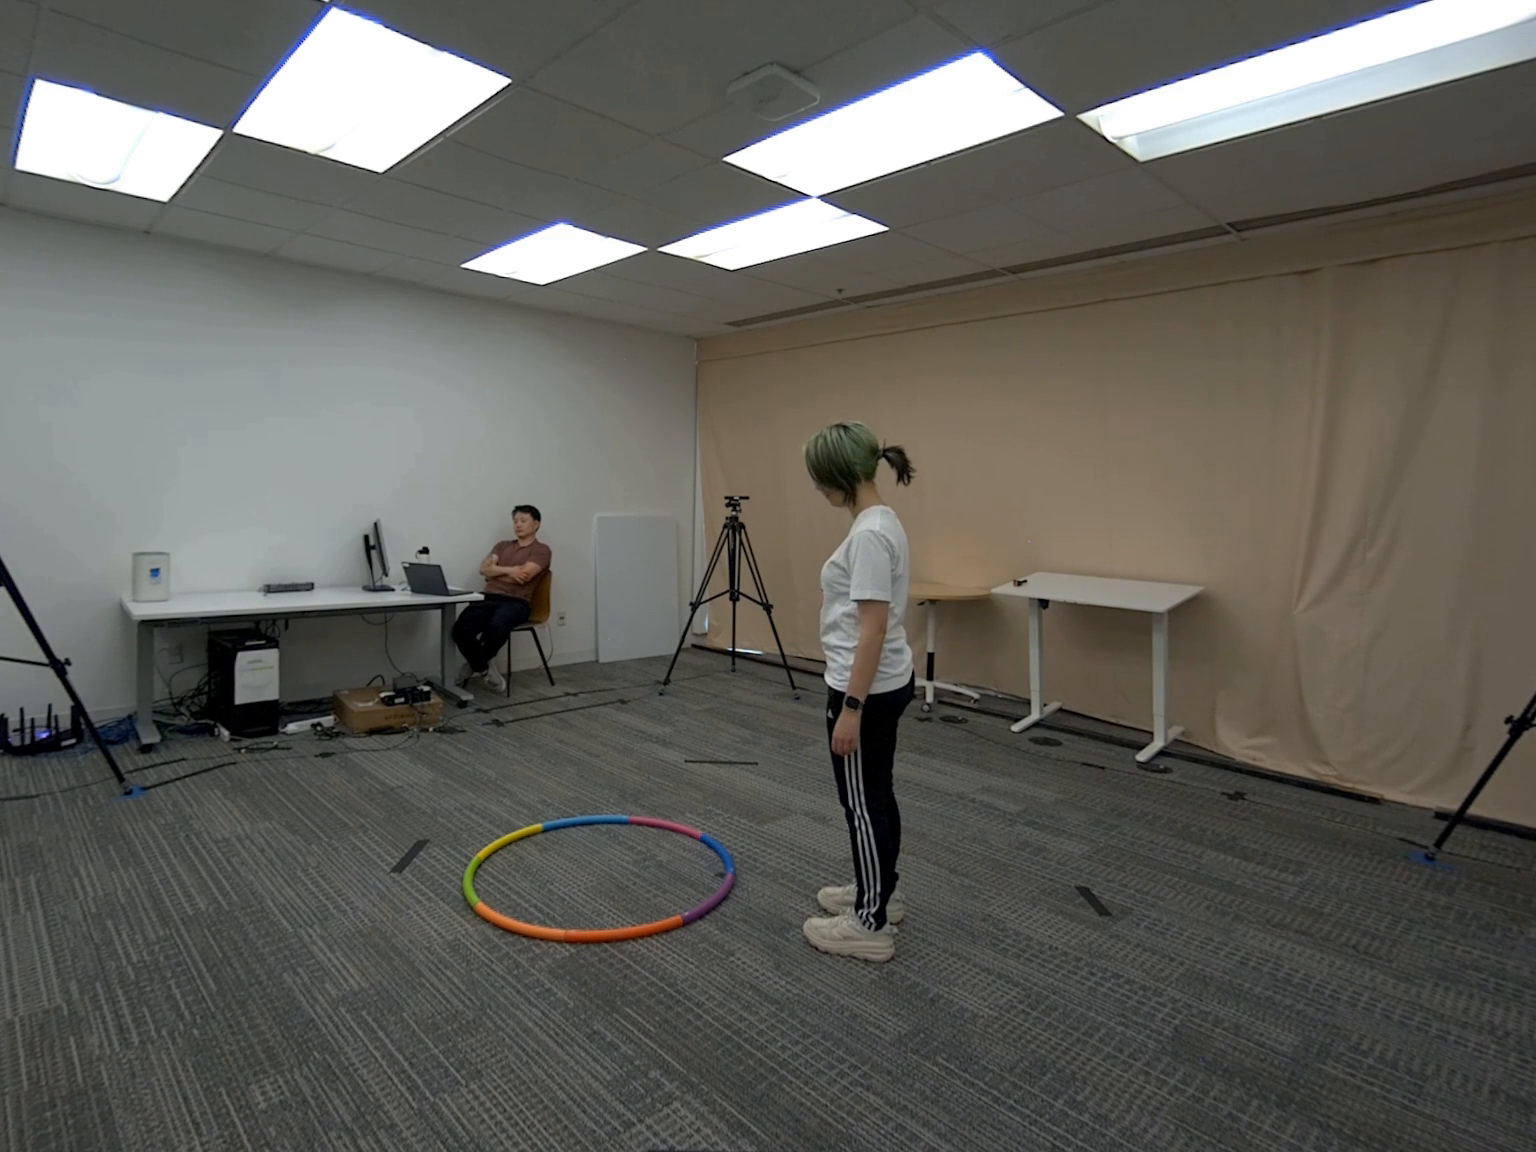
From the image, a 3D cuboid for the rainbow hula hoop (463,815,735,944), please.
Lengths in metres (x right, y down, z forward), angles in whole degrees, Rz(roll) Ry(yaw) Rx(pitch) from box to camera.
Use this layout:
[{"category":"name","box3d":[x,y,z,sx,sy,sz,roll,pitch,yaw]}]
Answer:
[{"category":"rainbow hula hoop","box3d":[-0.609,1.065,3.093,0.978,0.035,0.982,1,5,-1]}]
